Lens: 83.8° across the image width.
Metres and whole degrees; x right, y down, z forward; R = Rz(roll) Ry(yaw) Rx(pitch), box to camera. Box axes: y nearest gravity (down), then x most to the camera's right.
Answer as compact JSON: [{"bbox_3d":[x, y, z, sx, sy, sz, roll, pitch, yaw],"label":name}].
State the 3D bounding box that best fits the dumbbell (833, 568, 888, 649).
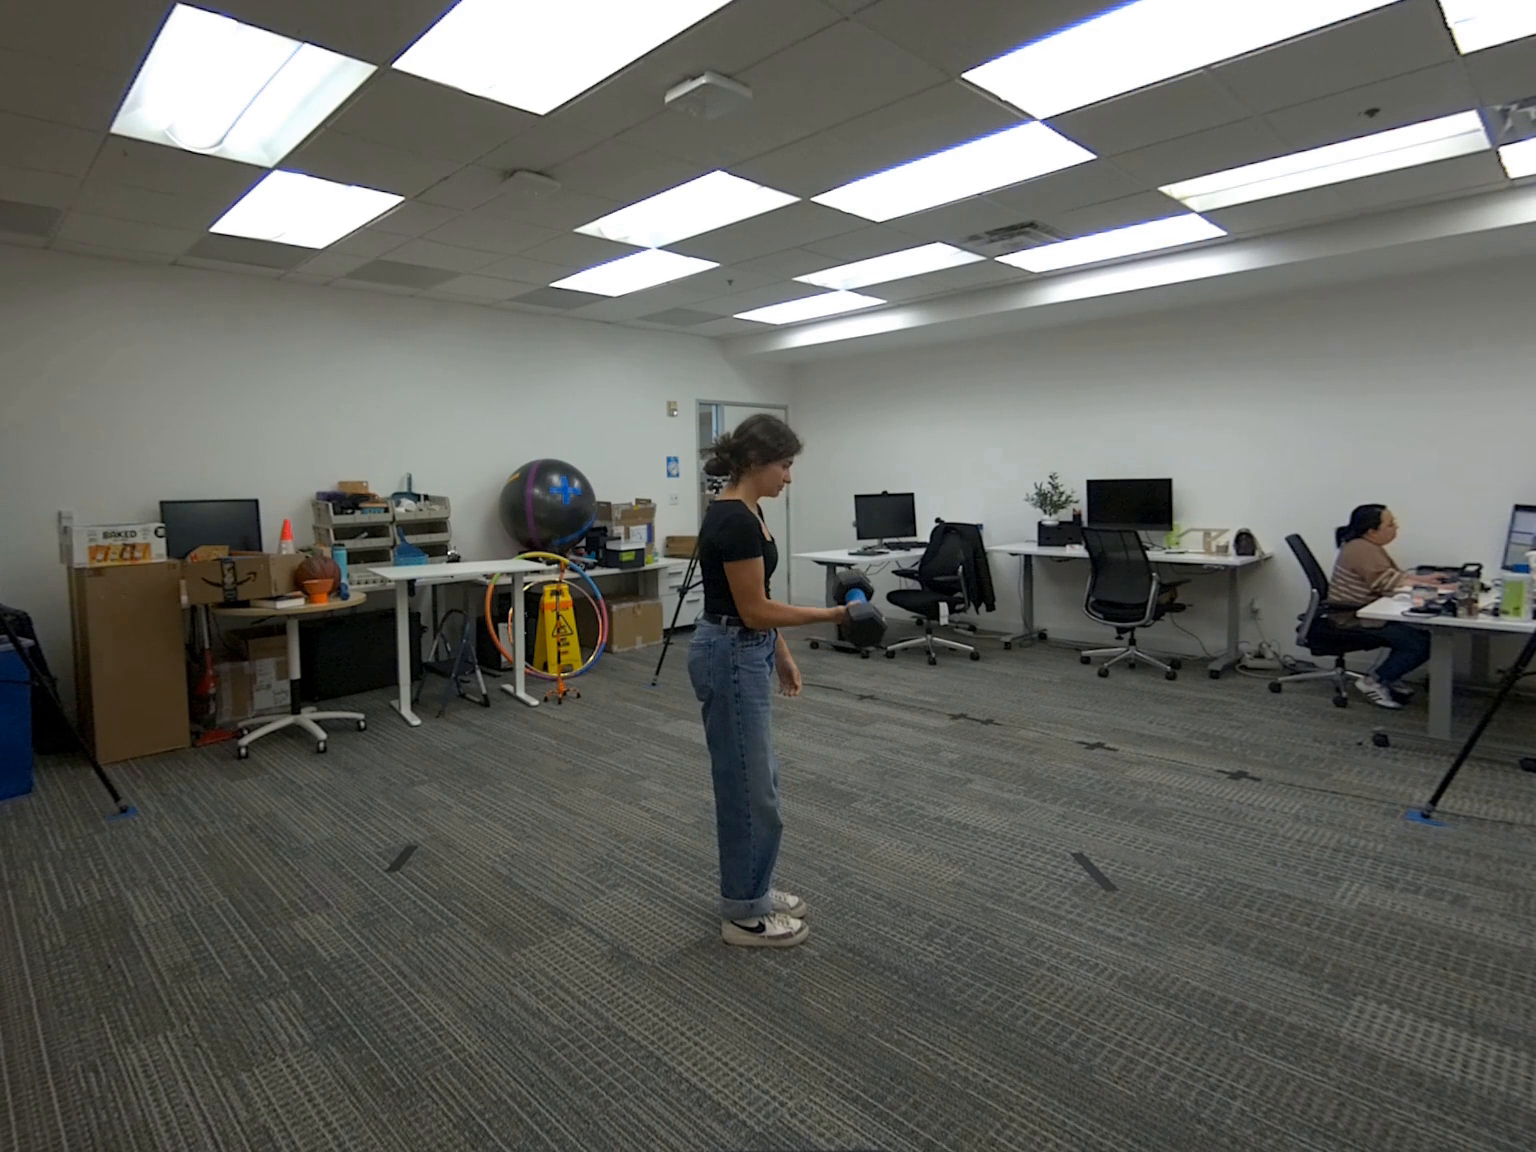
[{"bbox_3d":[0.247,0.089,2.415,0.123,0.106,0.300,-11,27,4],"label":"dumbbell"}]
